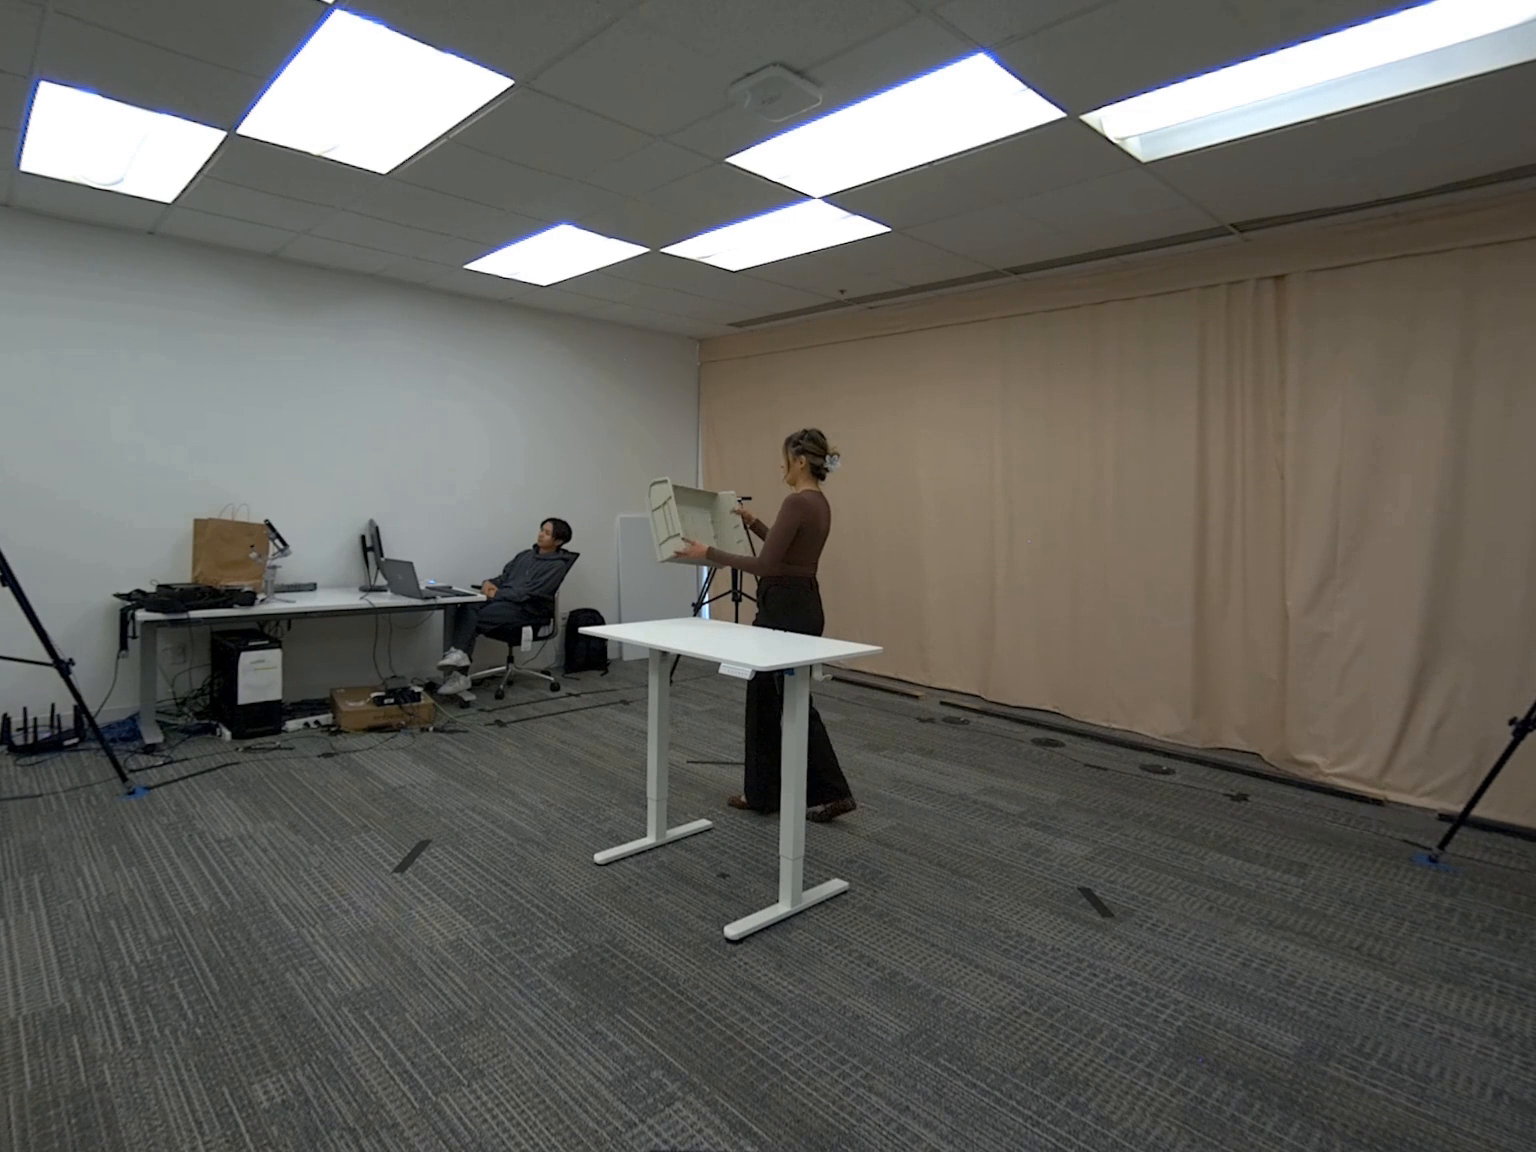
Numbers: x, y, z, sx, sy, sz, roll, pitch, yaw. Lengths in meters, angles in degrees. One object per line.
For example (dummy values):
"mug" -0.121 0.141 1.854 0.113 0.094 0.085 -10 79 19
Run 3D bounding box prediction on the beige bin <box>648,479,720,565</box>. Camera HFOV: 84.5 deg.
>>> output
"beige bin" -0.328 -0.239 3.832 0.191 0.383 0.411 -27 -22 37
